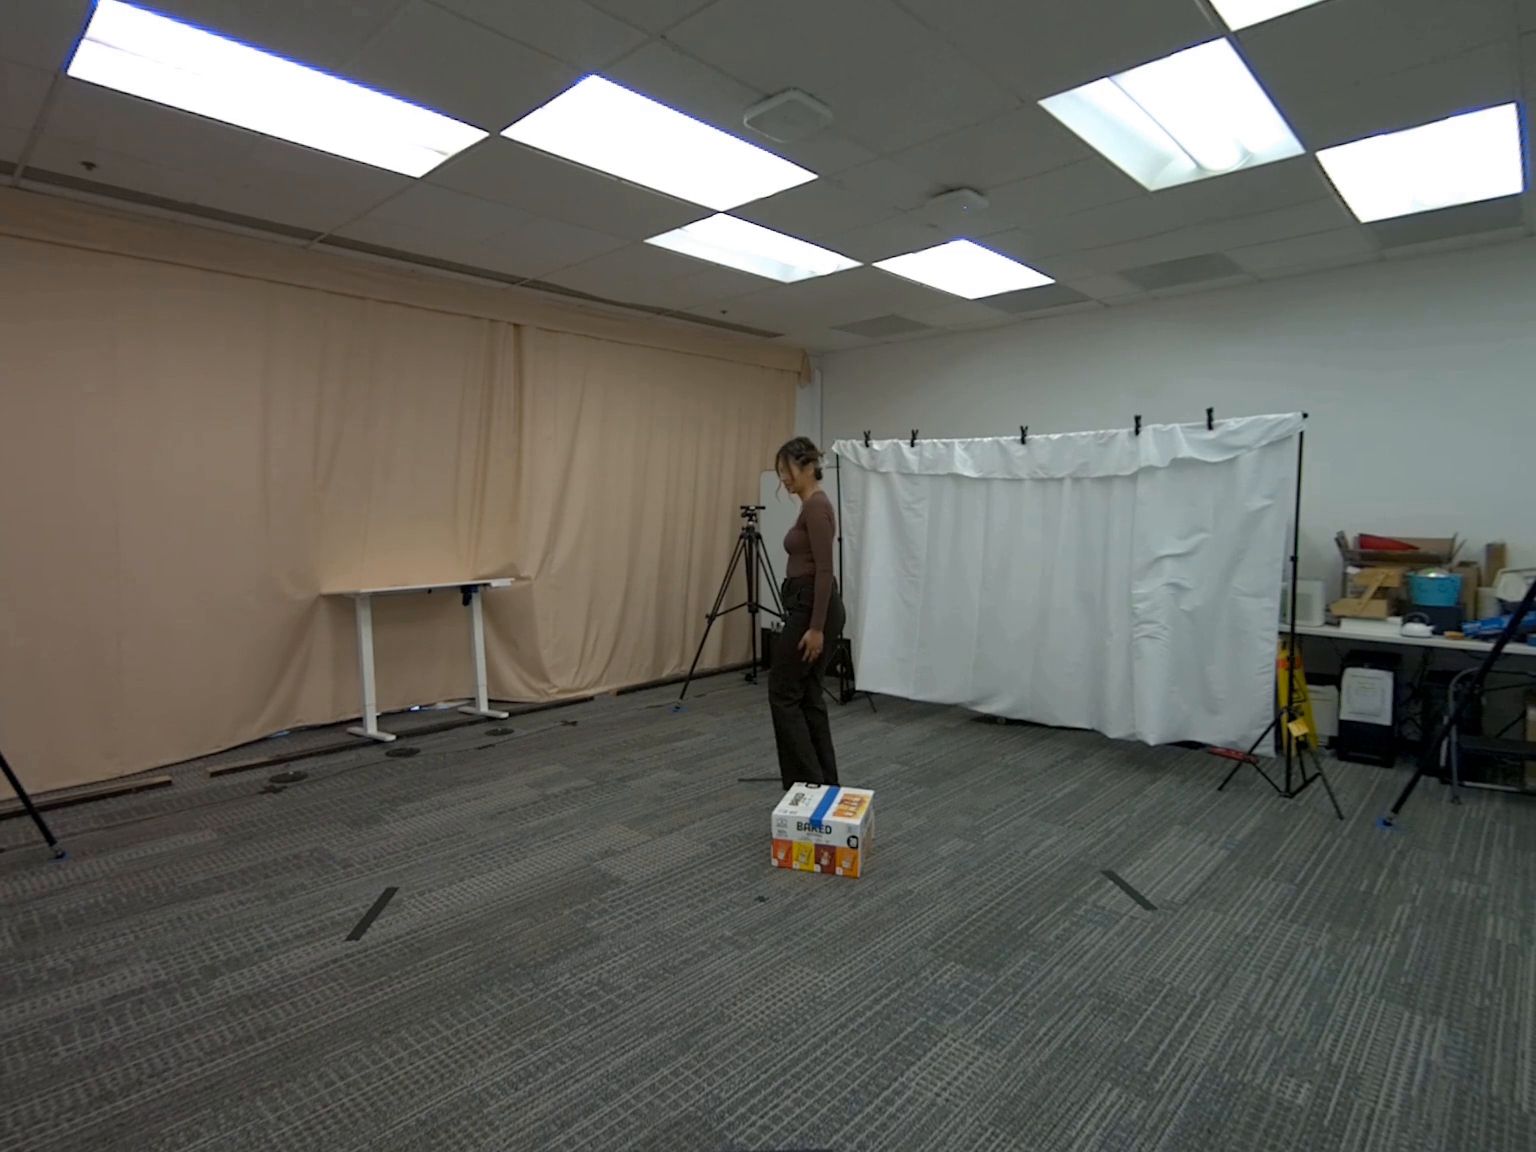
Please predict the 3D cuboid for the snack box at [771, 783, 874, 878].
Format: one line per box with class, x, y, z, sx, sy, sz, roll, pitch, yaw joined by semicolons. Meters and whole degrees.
snack box;0.229;1.004;3.383;0.347;0.205;0.398;1;4;17
